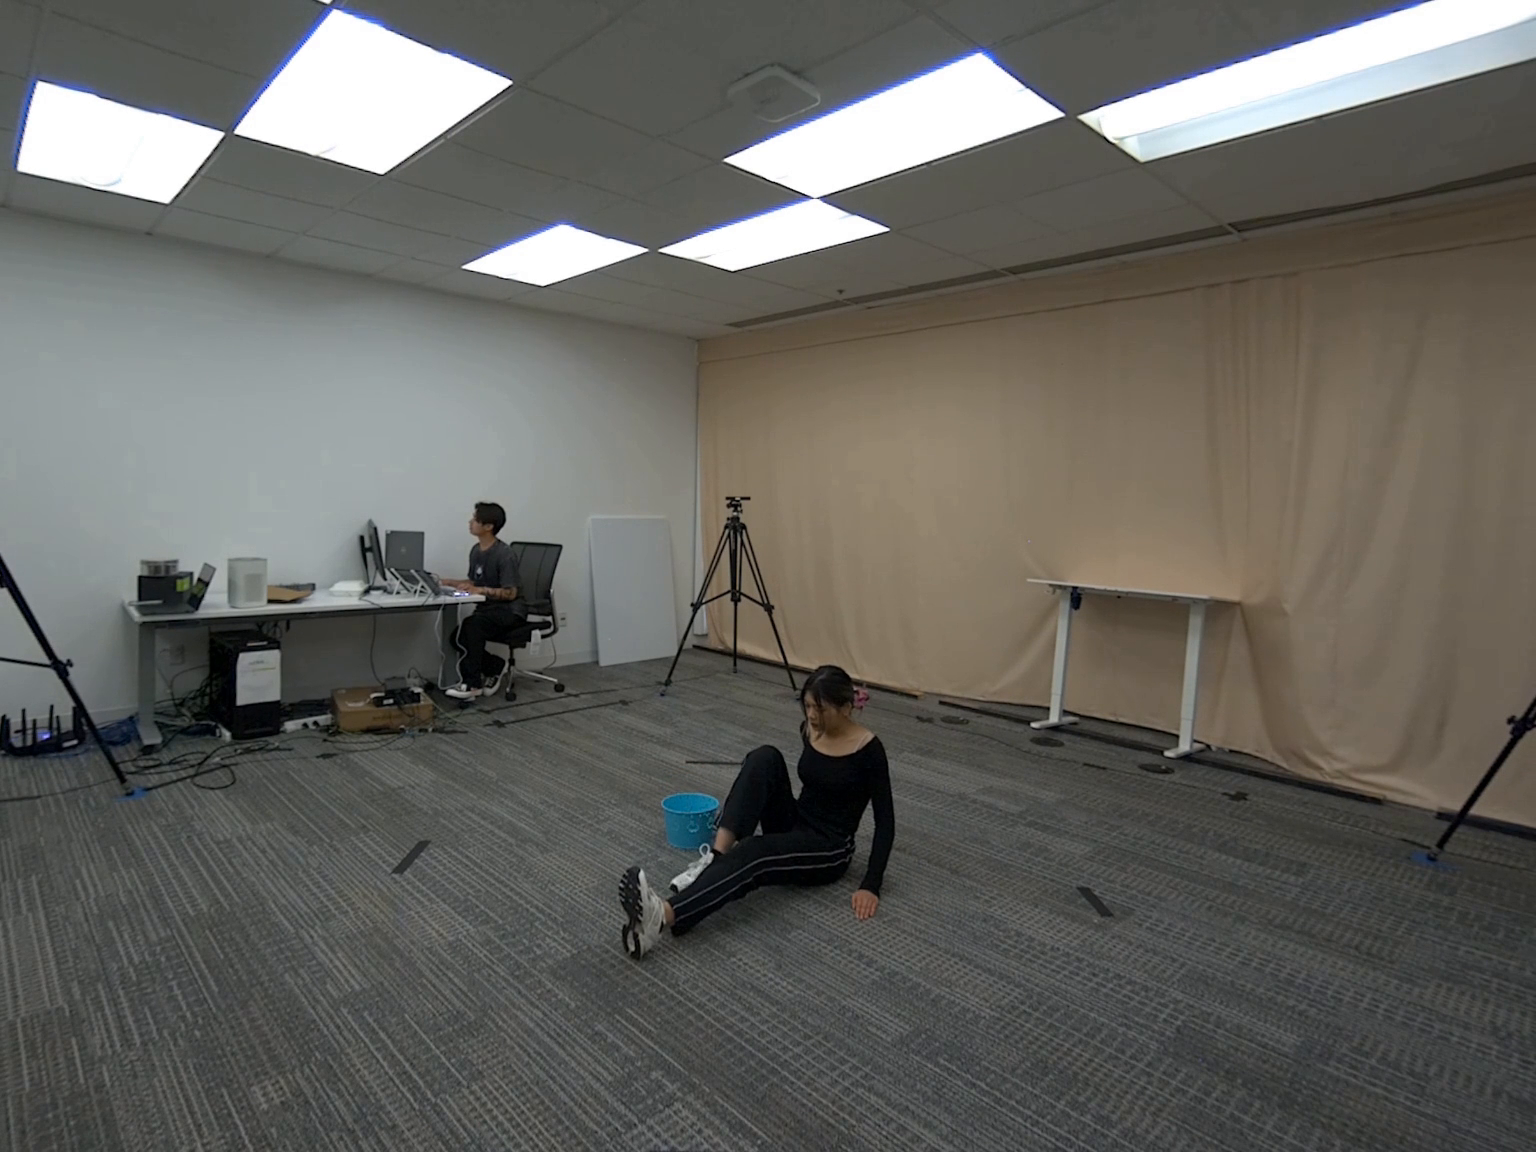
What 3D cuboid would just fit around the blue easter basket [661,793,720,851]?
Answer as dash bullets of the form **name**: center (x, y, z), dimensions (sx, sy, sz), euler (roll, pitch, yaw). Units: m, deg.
- **blue easter basket**: center (-0.314, 0.989, 3.420), dimensions (0.243, 0.155, 0.244), euler (1, 5, -1)
